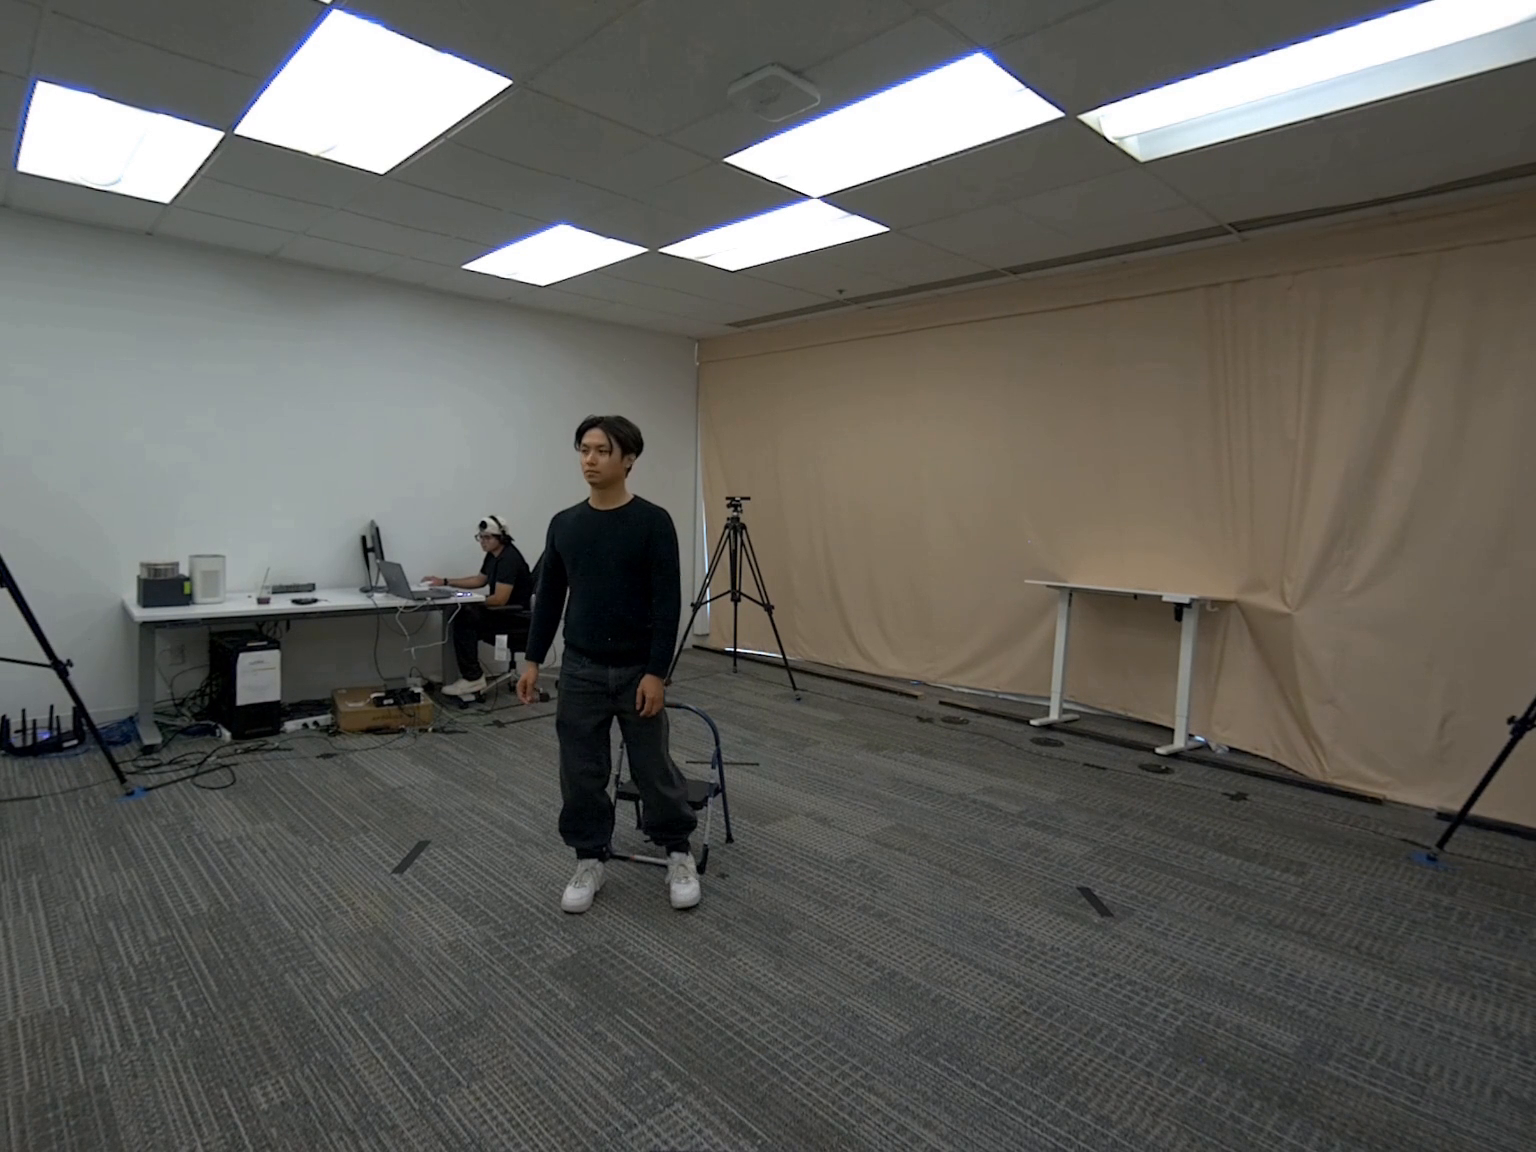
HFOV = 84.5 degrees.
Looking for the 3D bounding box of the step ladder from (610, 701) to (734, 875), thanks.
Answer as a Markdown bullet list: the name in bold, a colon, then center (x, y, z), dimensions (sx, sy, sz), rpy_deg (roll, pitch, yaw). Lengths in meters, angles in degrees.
- **step ladder**: center (-0.385, 0.779, 3.323), dimensions (0.437, 0.605, 0.345), rpy_deg (3, 3, 17)
